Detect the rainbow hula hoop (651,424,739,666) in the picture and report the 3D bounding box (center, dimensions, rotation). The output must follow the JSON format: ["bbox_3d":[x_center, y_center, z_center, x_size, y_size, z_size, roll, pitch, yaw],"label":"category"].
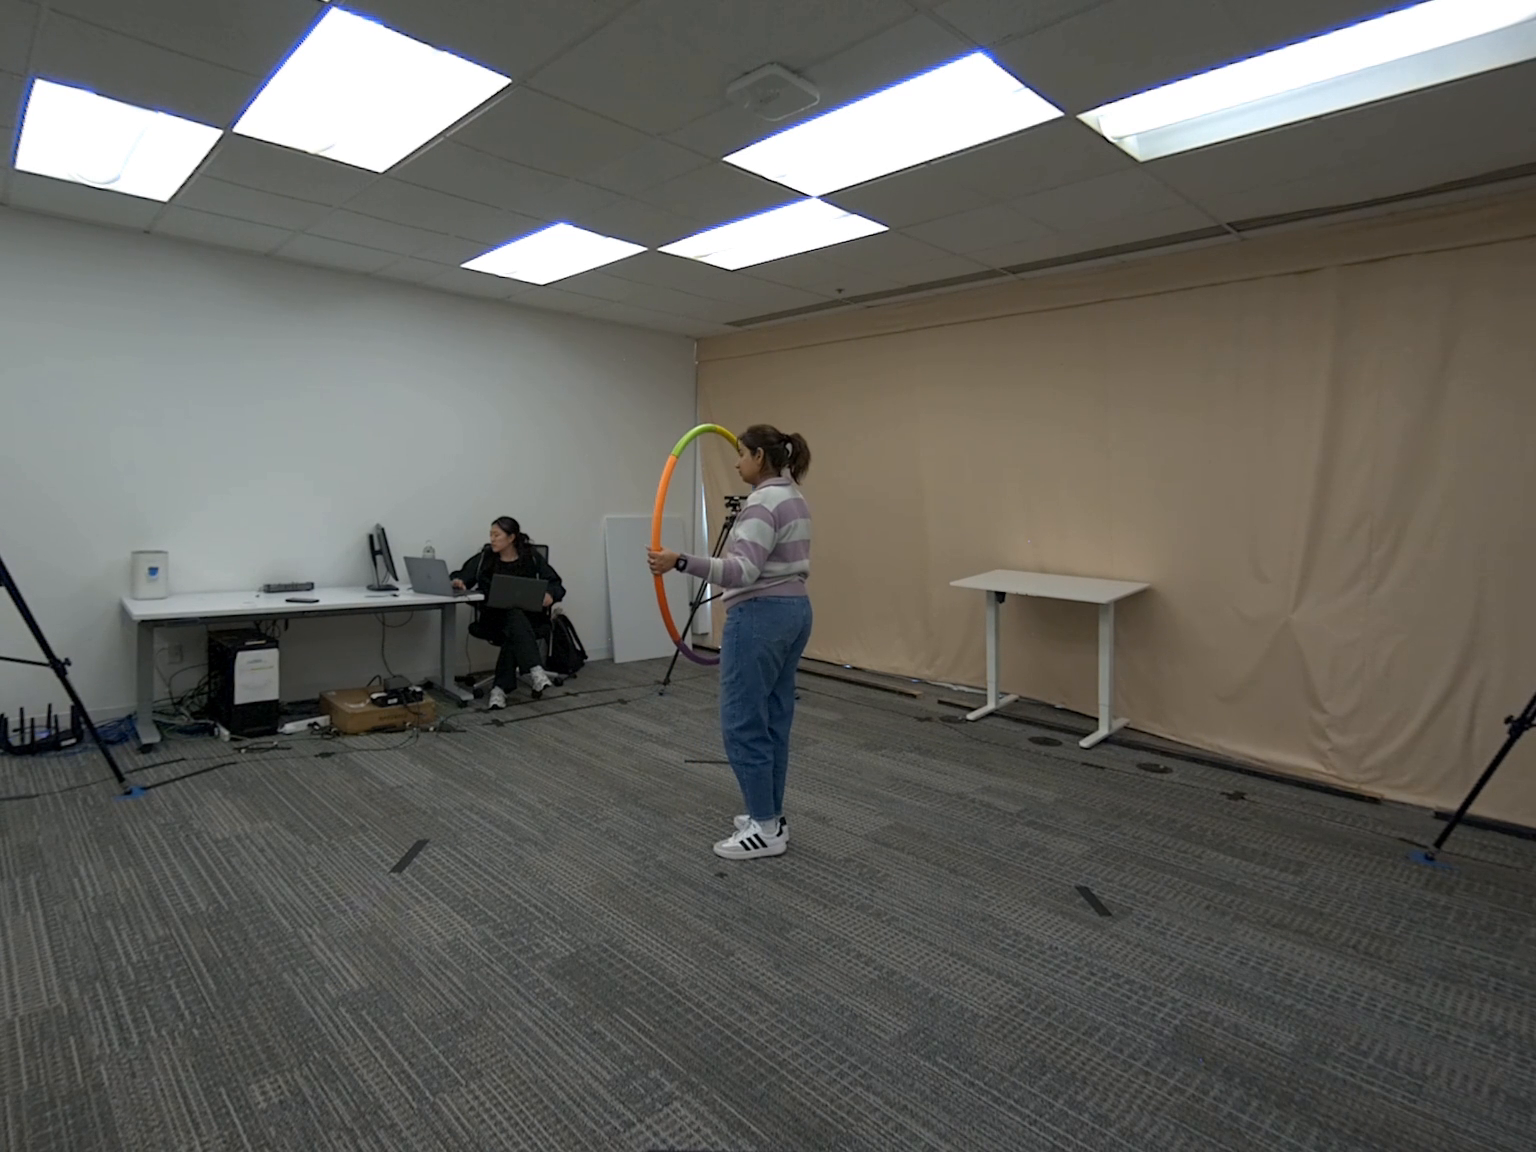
[{"bbox_3d":[-0.225,-0.132,3.459,0.036,0.976,0.963,1,4,24],"label":"rainbow hula hoop"}]
